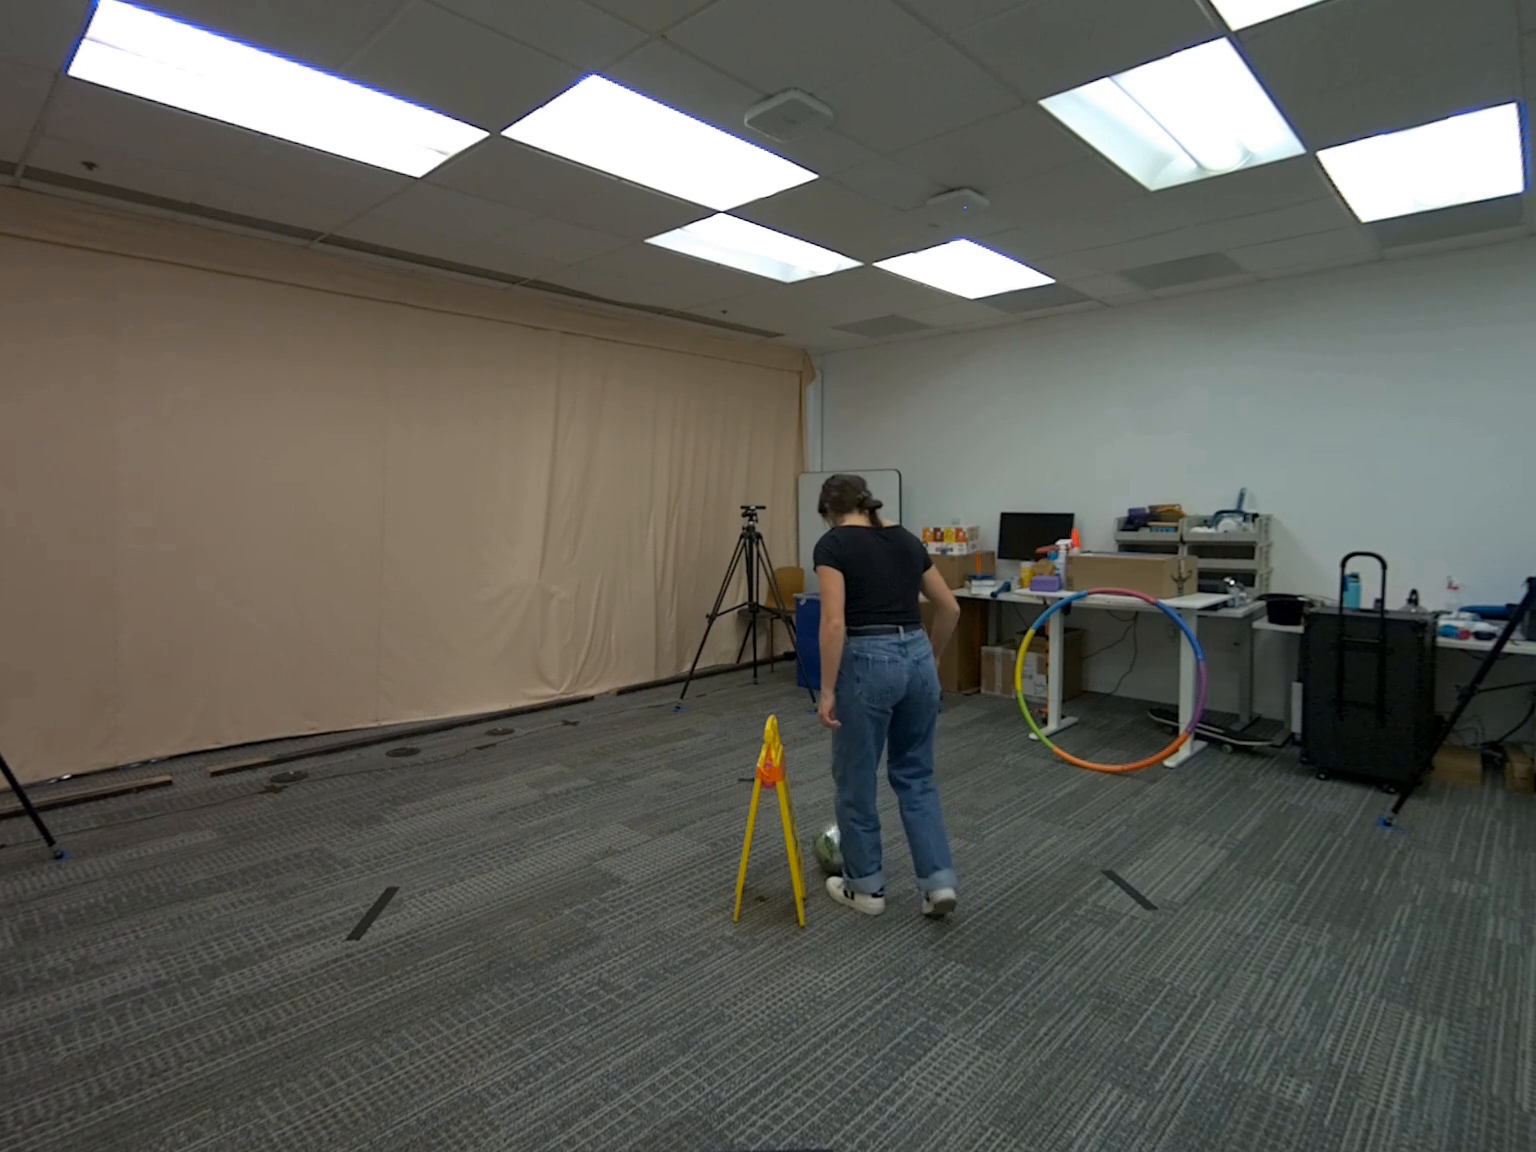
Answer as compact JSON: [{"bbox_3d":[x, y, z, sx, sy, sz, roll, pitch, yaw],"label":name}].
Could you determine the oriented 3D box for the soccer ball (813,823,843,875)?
[{"bbox_3d":[0.275,1.031,3.196,0.187,0.187,0.188,0,4,-2],"label":"soccer ball"}]
